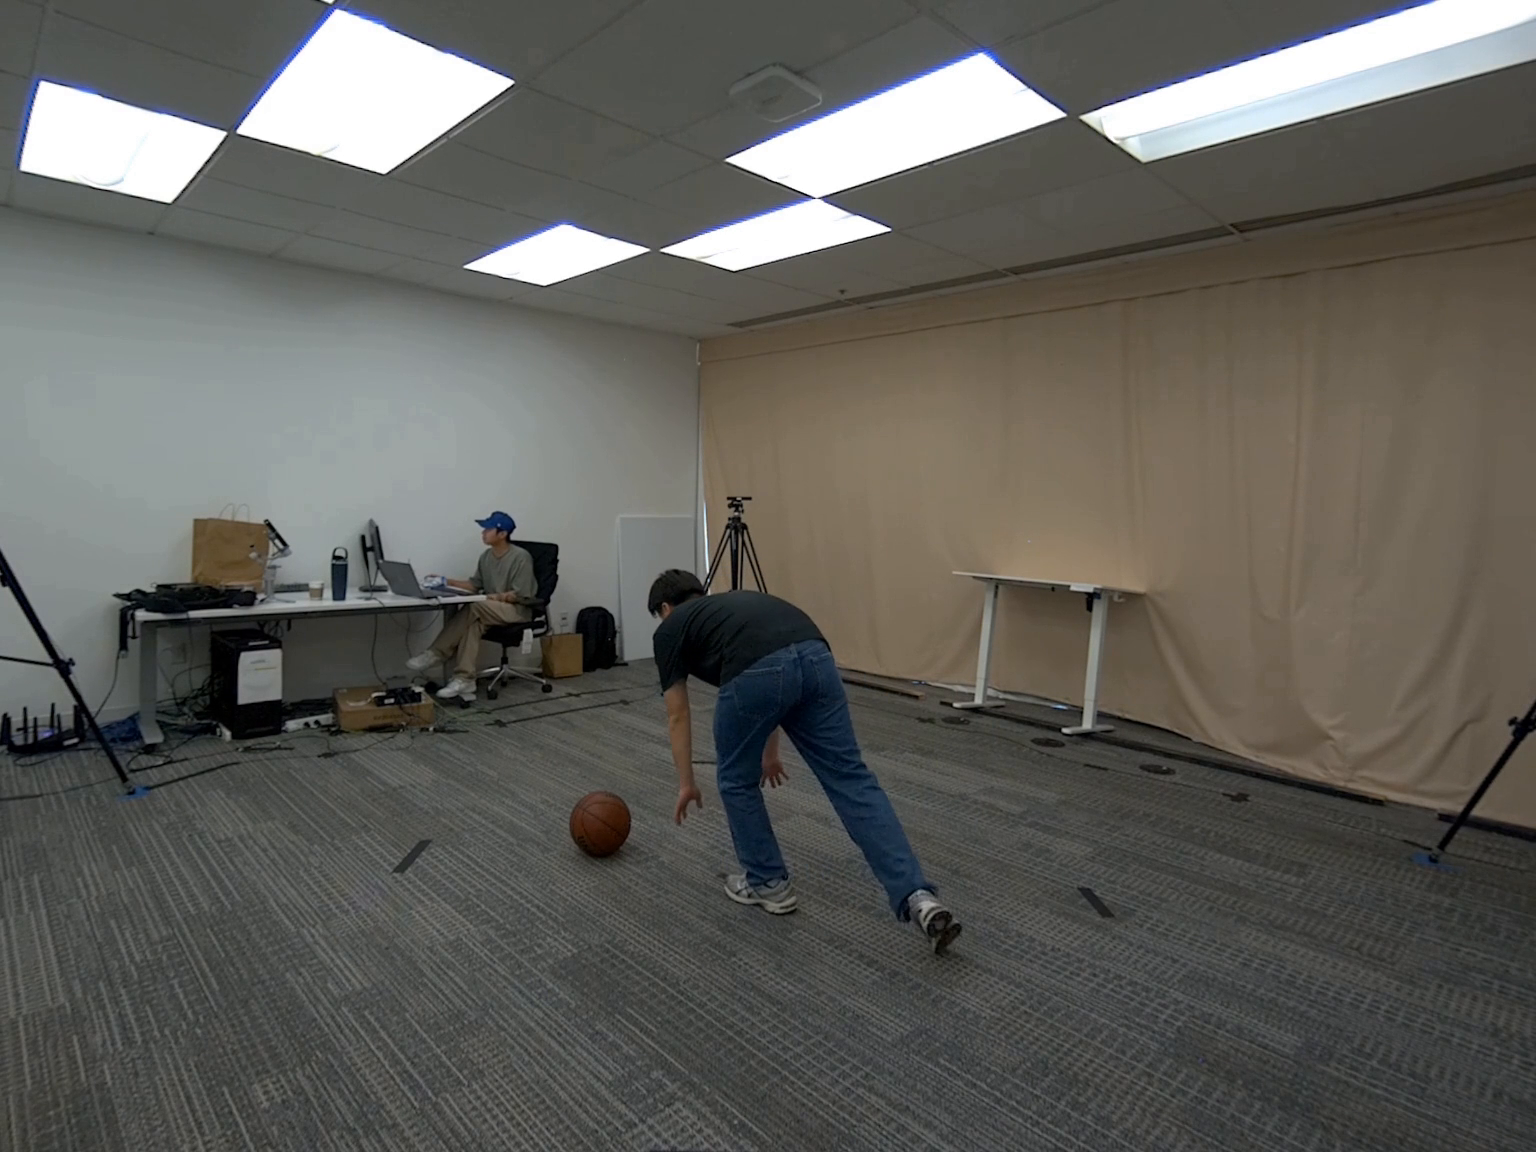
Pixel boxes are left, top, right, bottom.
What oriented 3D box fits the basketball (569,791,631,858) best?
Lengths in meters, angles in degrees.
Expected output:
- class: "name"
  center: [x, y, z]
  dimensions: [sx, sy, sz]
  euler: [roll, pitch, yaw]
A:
- class: "basketball"
  center: [-0.656, 0.957, 3.272]
  dimensions: [0.236, 0.235, 0.237]
  euler: [1, 4, -1]
